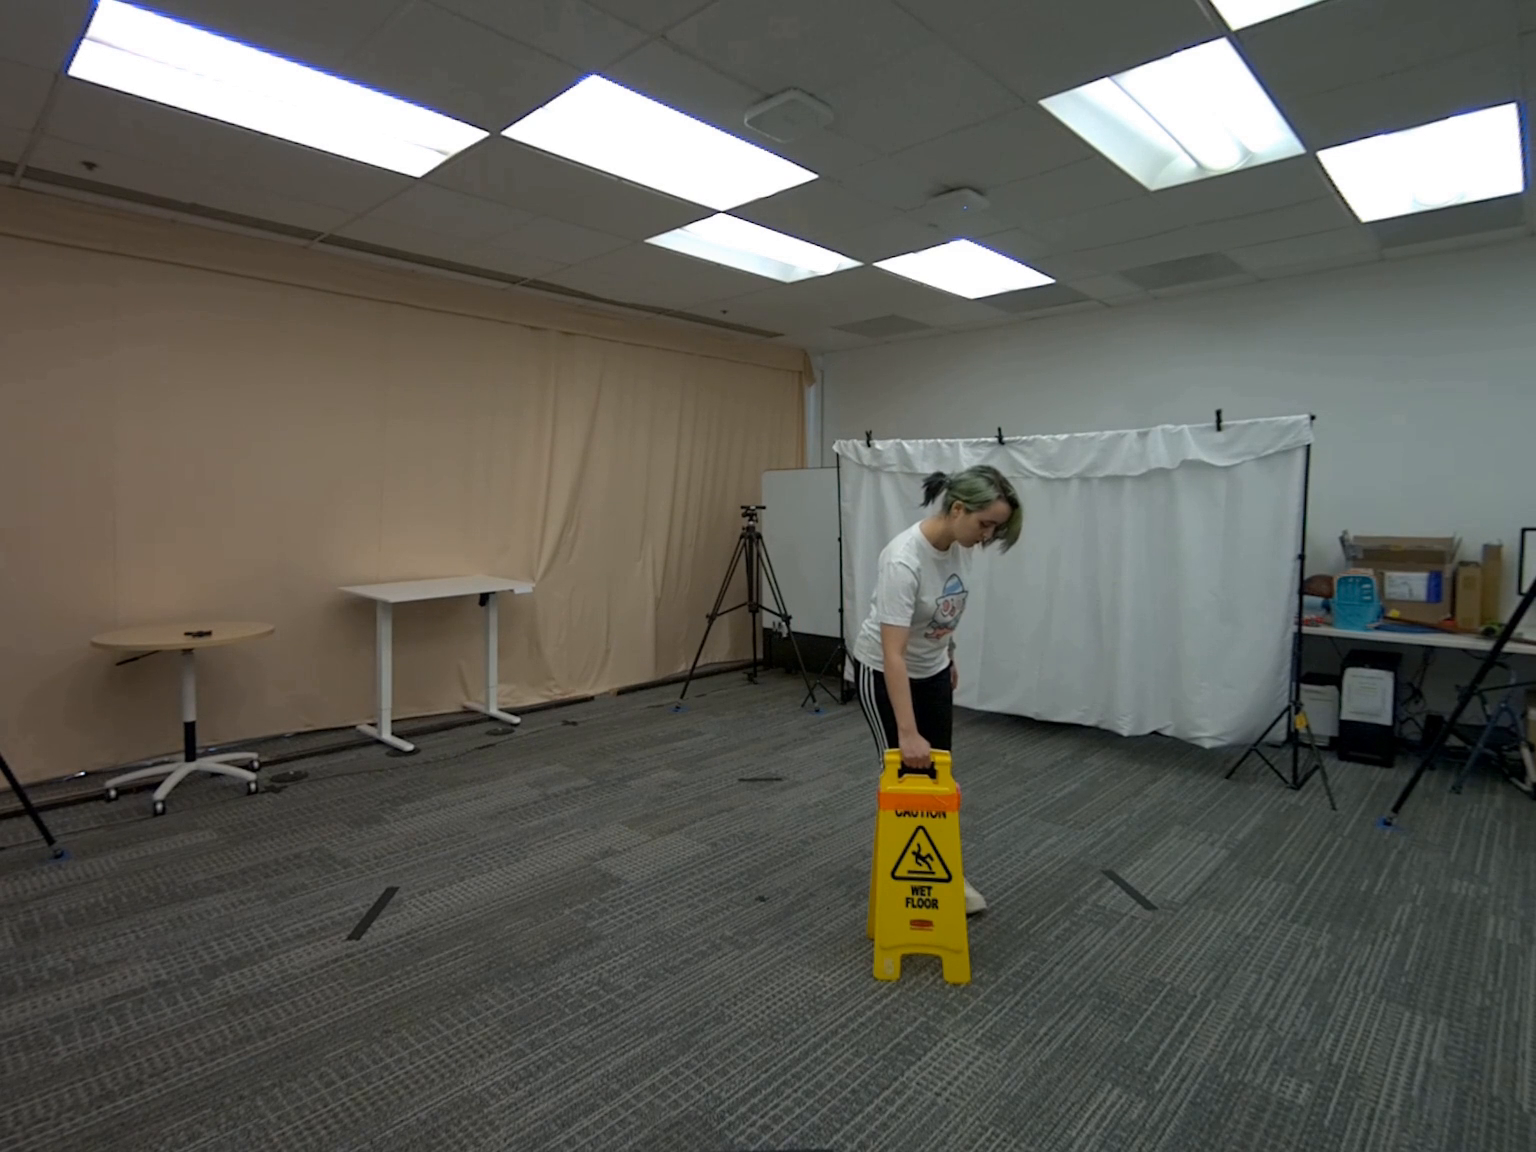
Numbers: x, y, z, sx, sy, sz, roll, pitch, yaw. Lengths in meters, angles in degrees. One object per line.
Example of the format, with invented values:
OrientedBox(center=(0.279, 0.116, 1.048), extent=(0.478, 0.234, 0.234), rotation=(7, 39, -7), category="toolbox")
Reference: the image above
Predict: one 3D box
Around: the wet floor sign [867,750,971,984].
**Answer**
OrientedBox(center=(0.467, 0.856, 2.569), extent=(0.283, 0.644, 0.289), rotation=(1, 4, 3), category="wet floor sign")
